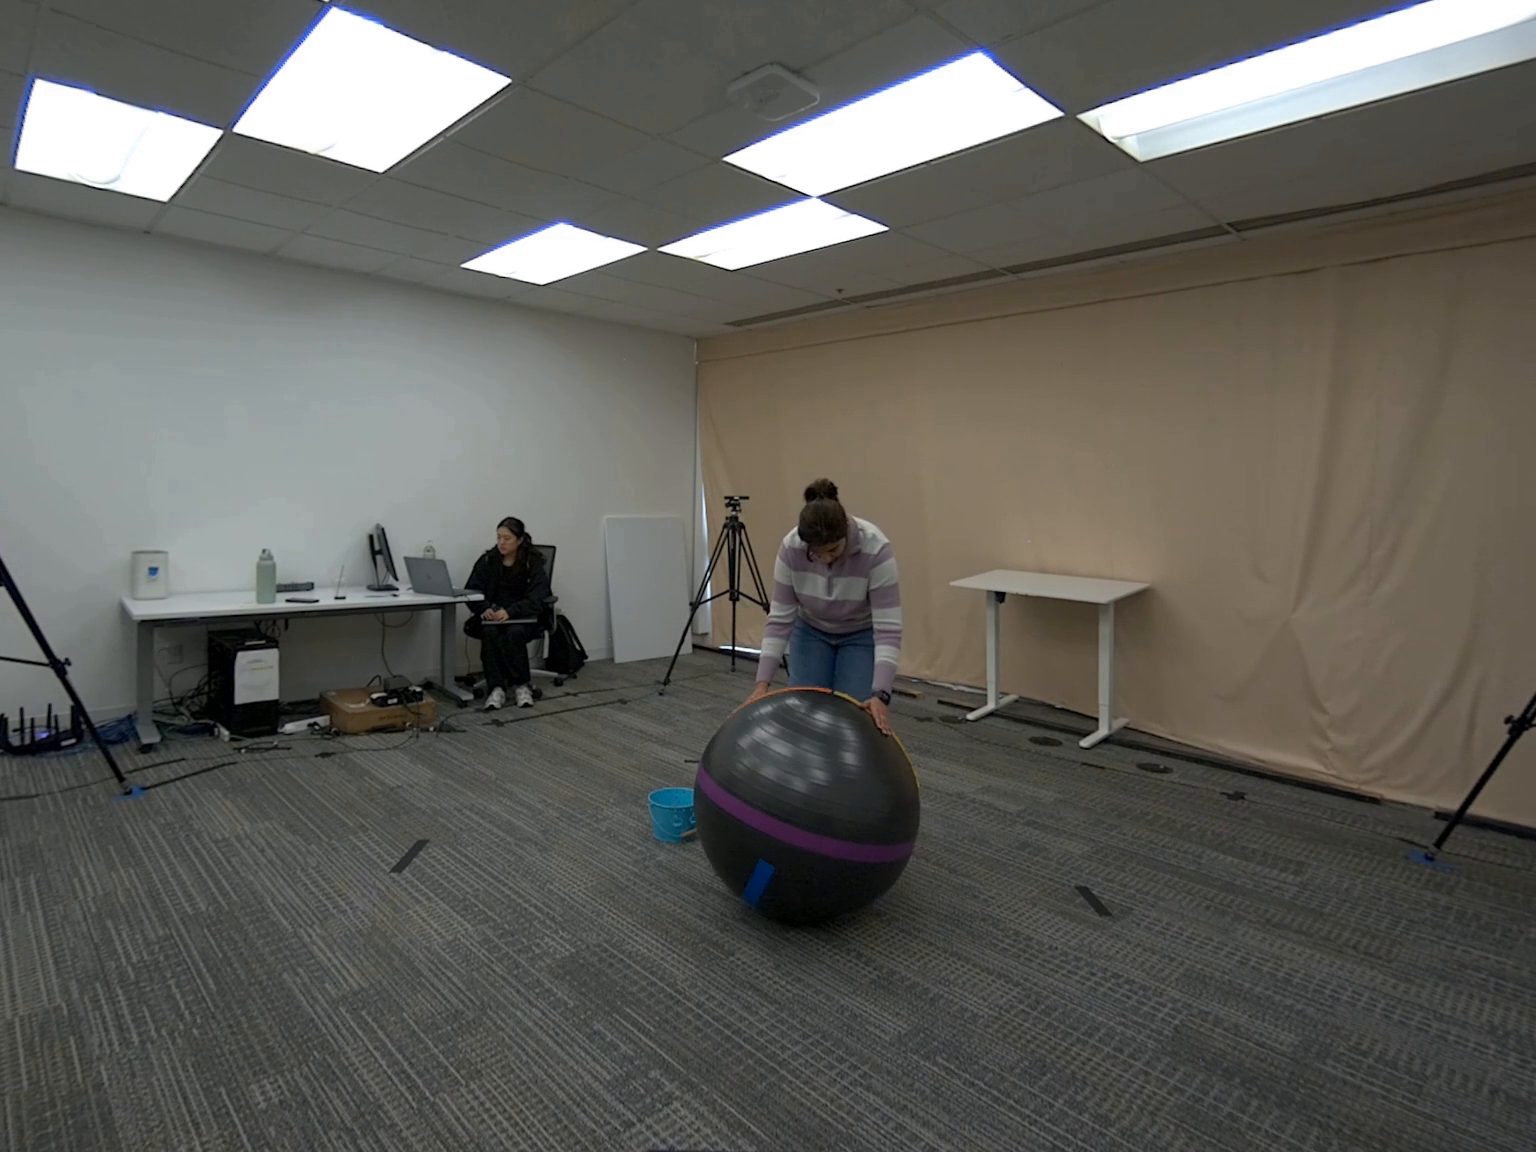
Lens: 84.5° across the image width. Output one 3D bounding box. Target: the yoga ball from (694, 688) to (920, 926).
[{"bbox_3d":[0.129,0.768,2.860,0.757,0.756,0.761,1,4,-1],"label":"yoga ball"}]
